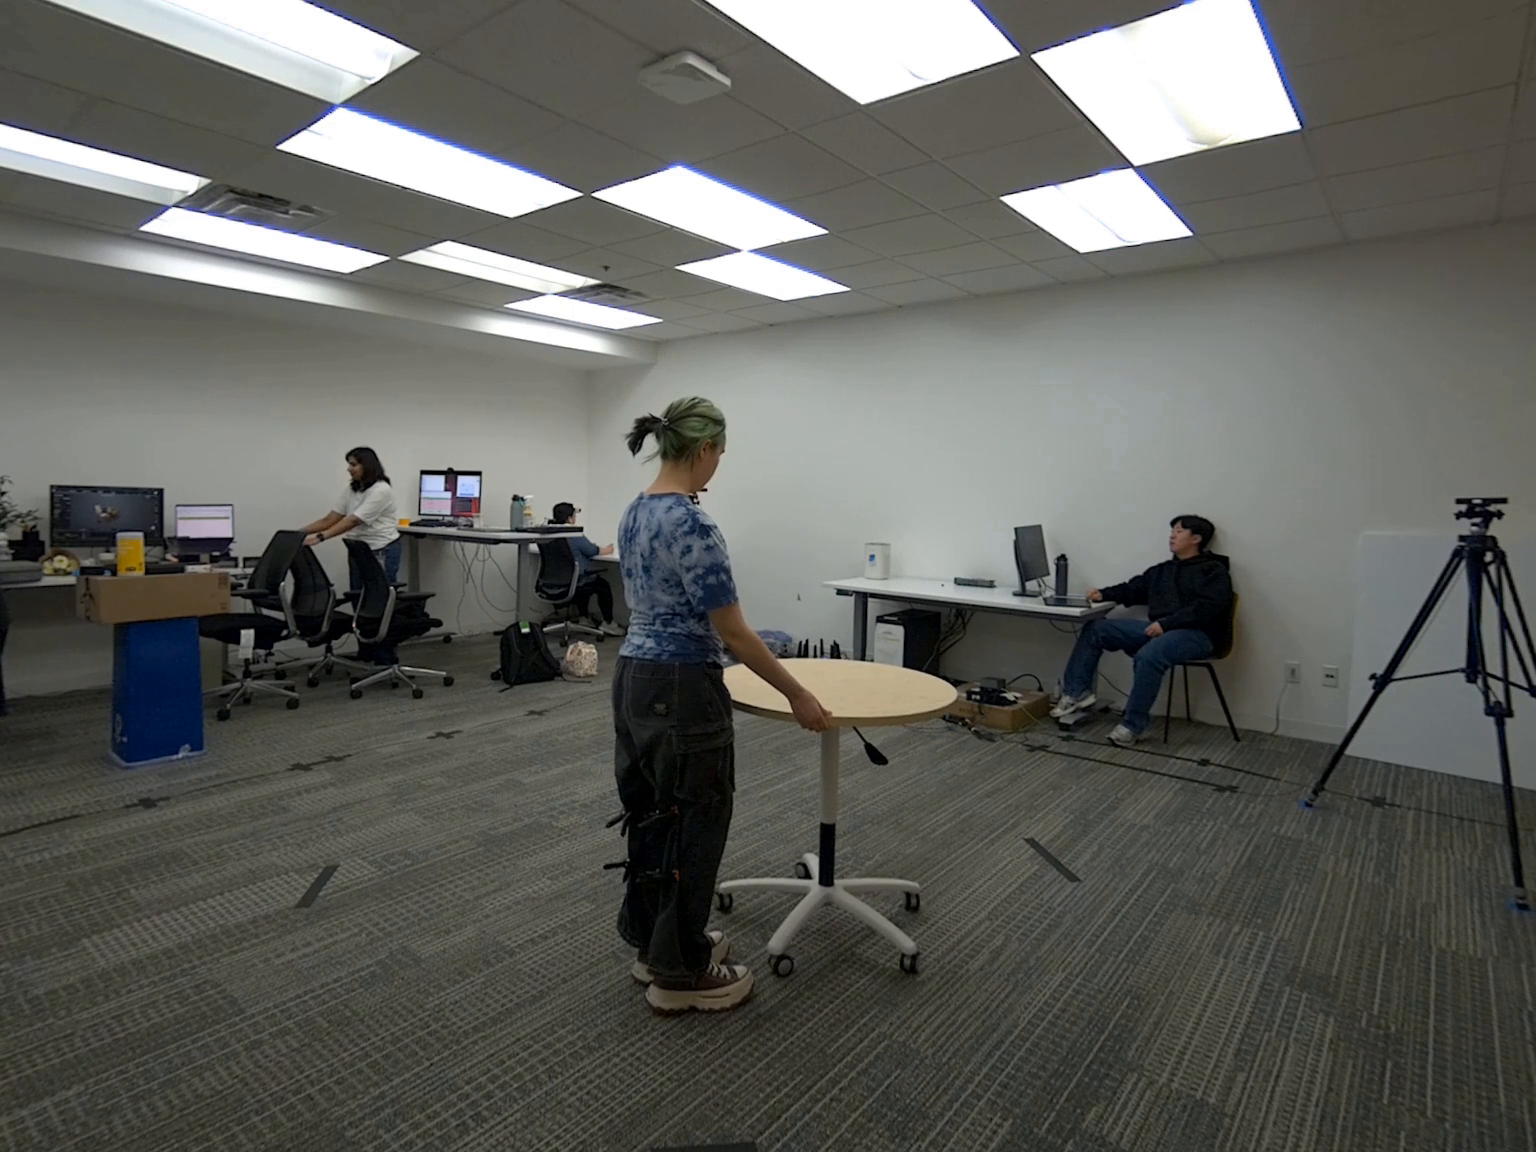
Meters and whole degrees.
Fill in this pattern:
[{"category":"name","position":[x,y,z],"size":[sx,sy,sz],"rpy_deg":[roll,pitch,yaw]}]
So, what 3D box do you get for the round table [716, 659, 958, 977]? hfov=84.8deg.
[{"category":"round table","position":[0.180,0.729,2.704],"size":[0.763,0.791,0.768],"rpy_deg":[1,5,-2]}]
